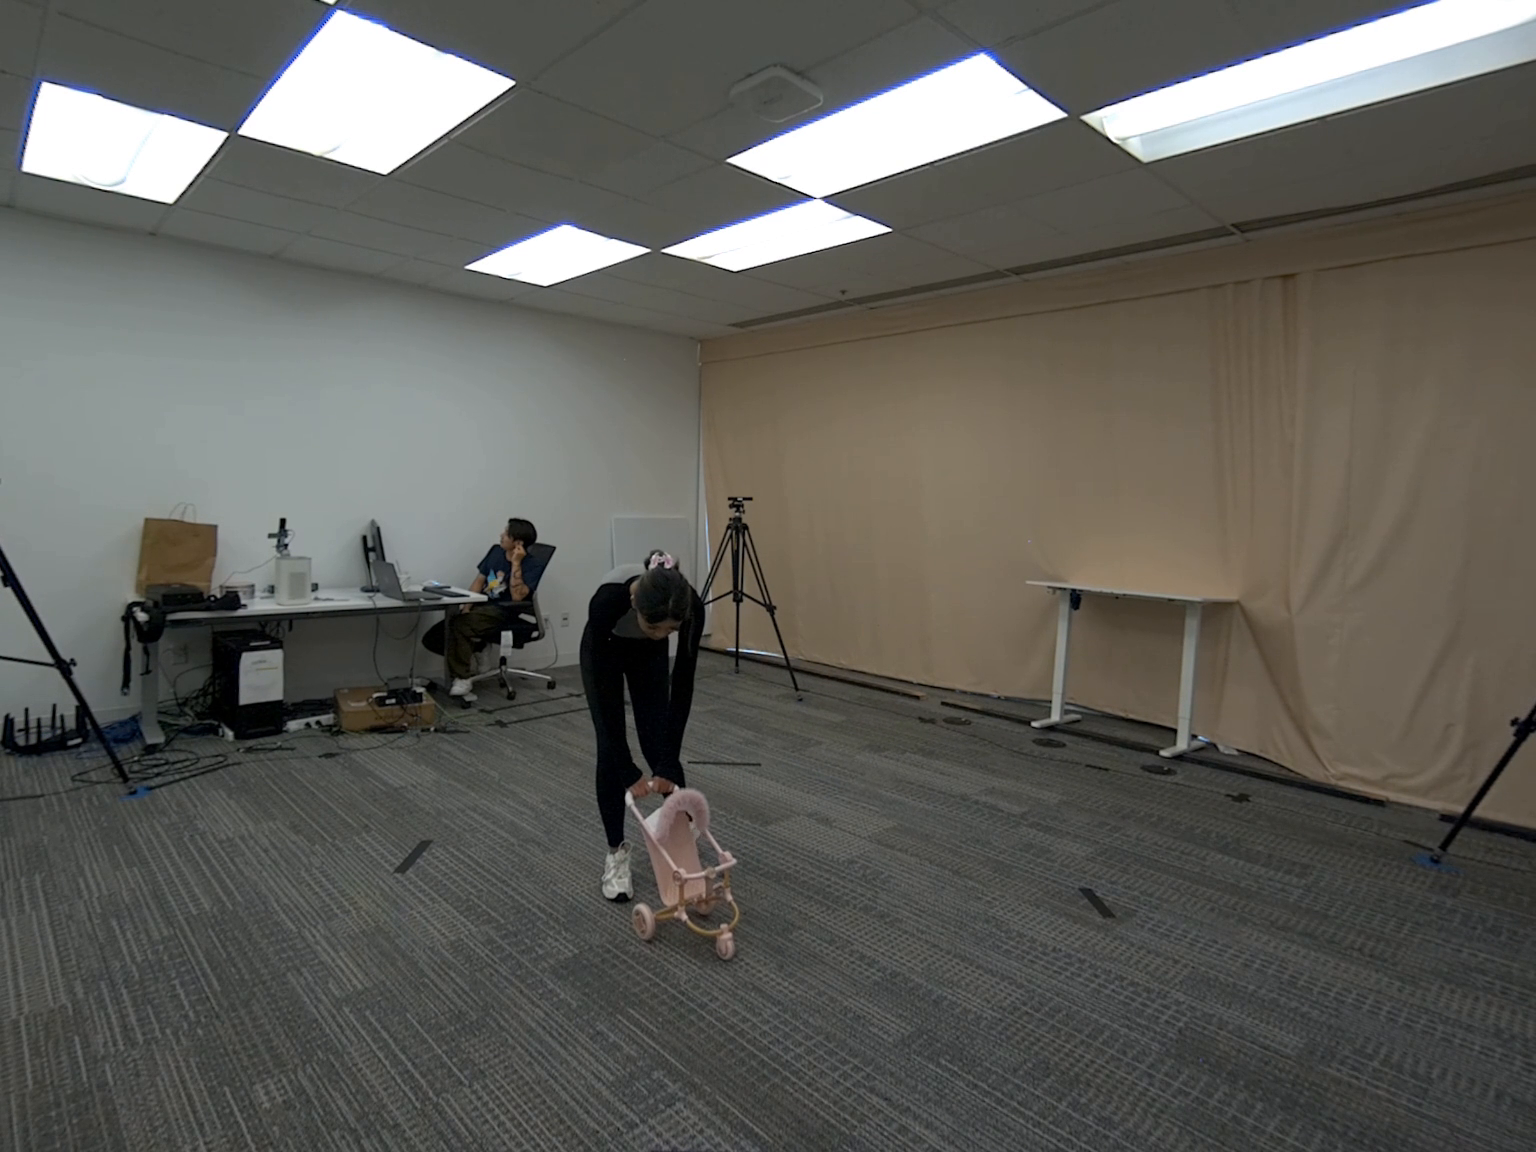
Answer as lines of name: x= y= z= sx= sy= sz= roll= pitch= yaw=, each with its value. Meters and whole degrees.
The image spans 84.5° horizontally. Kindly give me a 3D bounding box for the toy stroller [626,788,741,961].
toy stroller: x=-0.263 y=0.919 z=2.671 sx=0.275 sy=0.539 sz=0.346 roll=-2 pitch=-11 yaw=-40
